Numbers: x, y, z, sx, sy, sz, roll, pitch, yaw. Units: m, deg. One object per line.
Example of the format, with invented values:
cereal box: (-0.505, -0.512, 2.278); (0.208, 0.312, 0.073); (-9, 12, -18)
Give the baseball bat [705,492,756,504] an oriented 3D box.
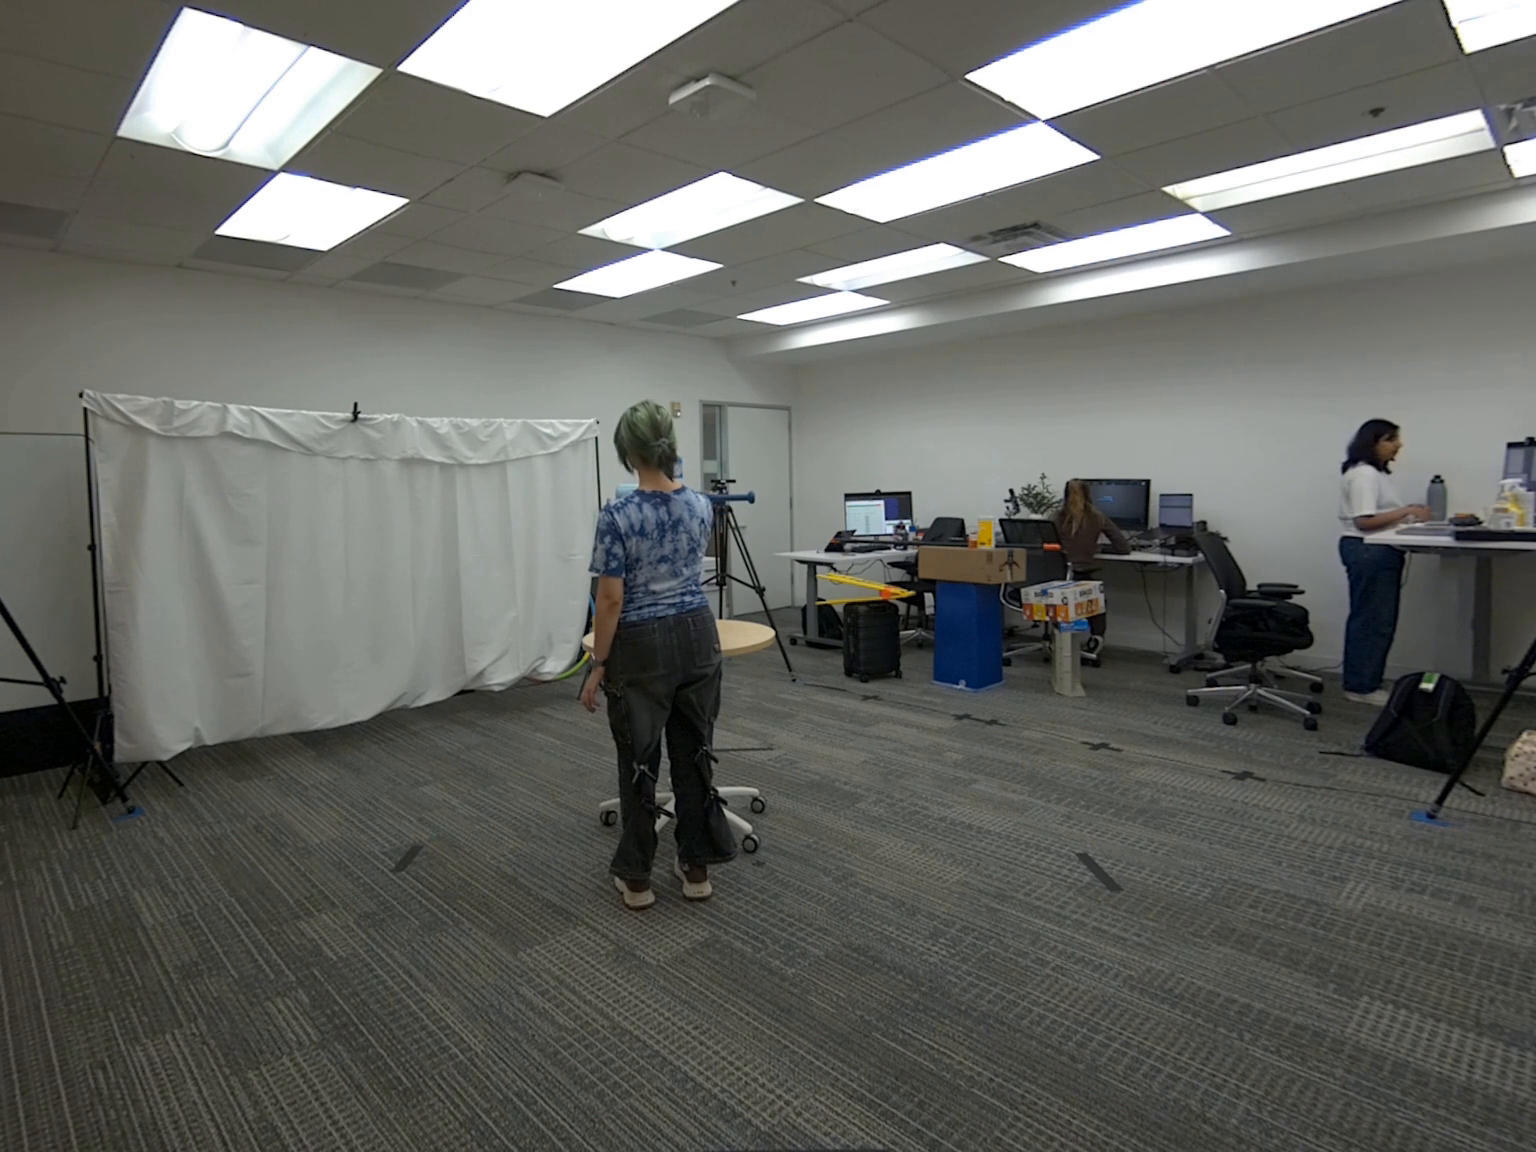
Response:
baseball bat: (-0.328, -0.313, 3.337); (0.542, 0.089, 0.089); (0, 5, -2)
